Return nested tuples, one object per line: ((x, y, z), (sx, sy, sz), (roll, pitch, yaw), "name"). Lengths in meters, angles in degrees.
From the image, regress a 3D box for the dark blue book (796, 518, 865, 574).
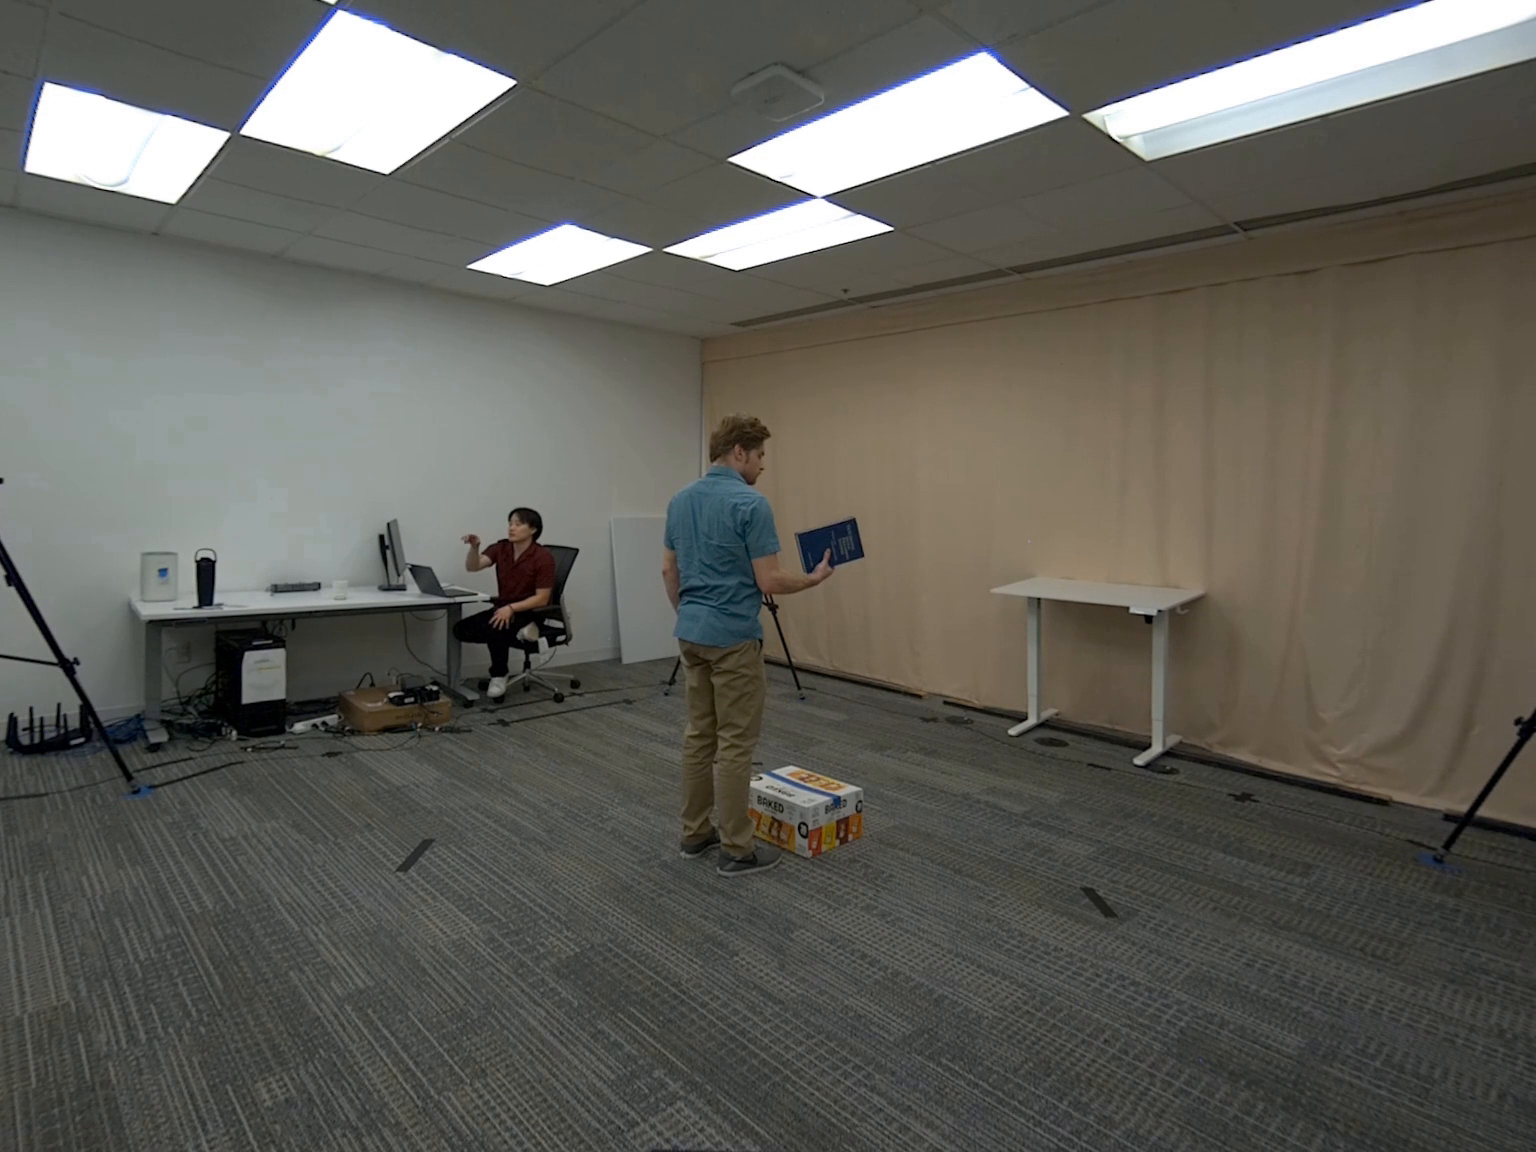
((0.235, -0.123, 3.279), (0.245, 0.162, 0.045), (-15, 8, -2), "dark blue book")
